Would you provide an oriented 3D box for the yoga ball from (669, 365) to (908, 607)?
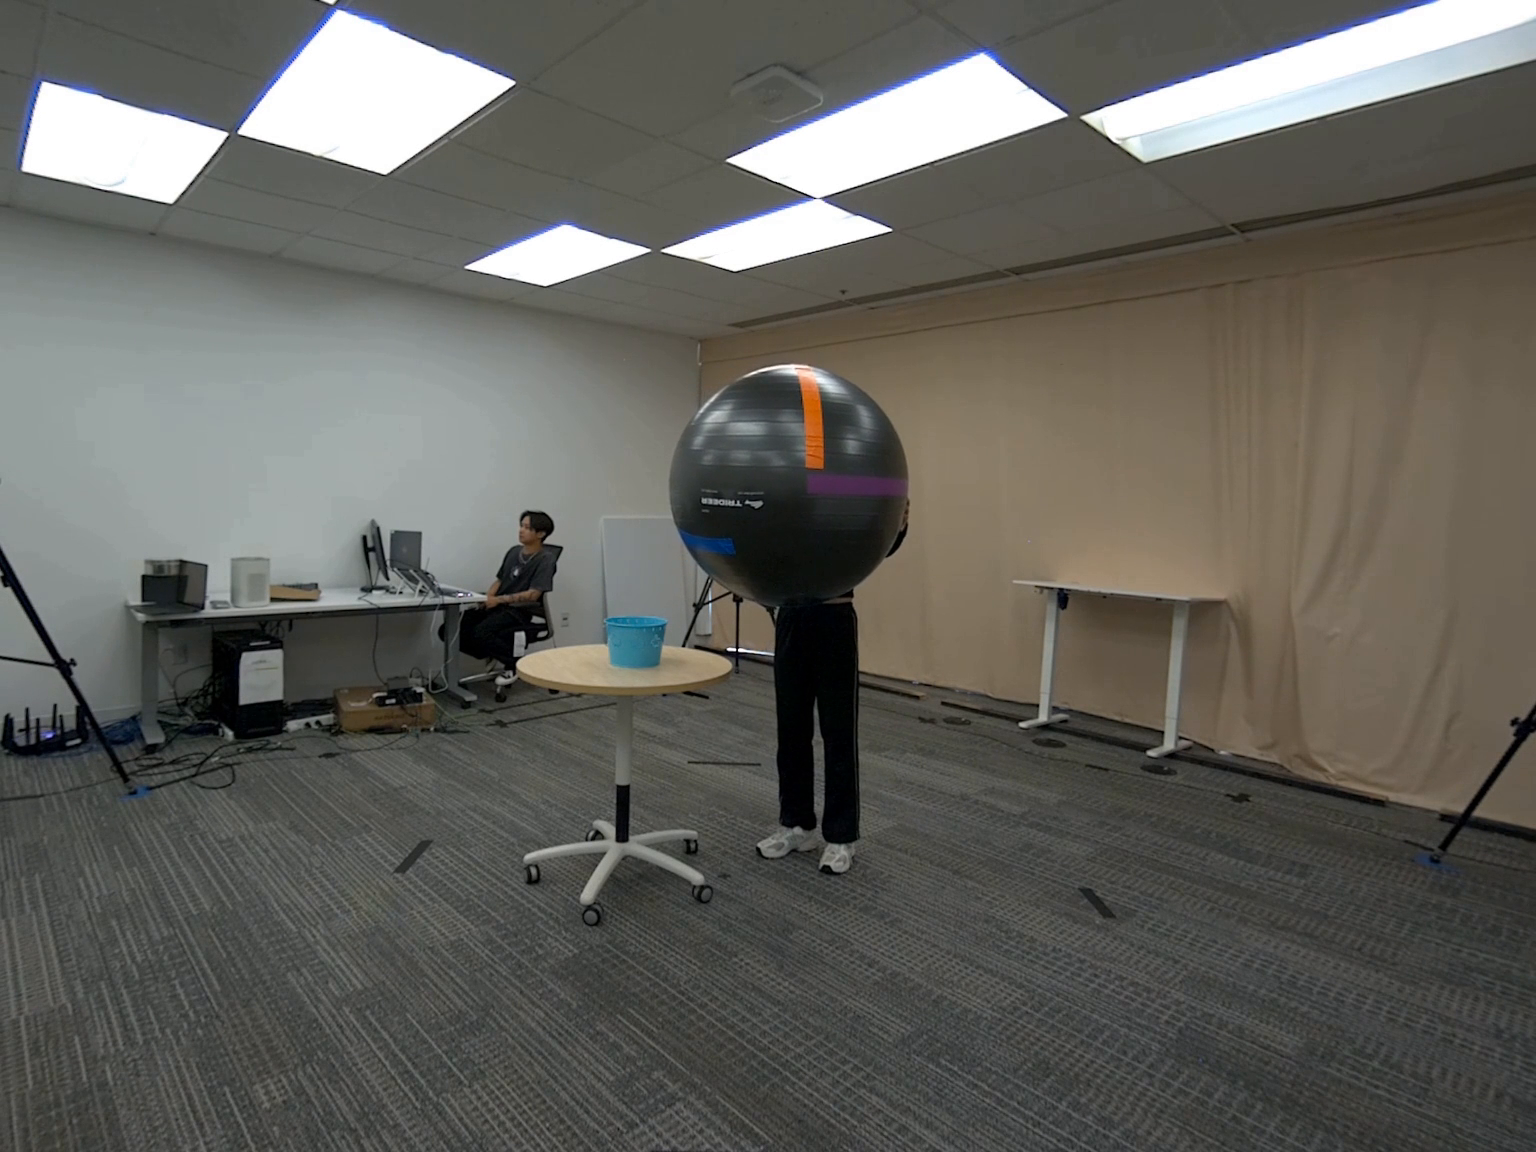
[{"bbox_3d":[0.059,-0.276,2.664,0.757,0.756,0.761,1,4,-1],"label":"yoga ball"}]
